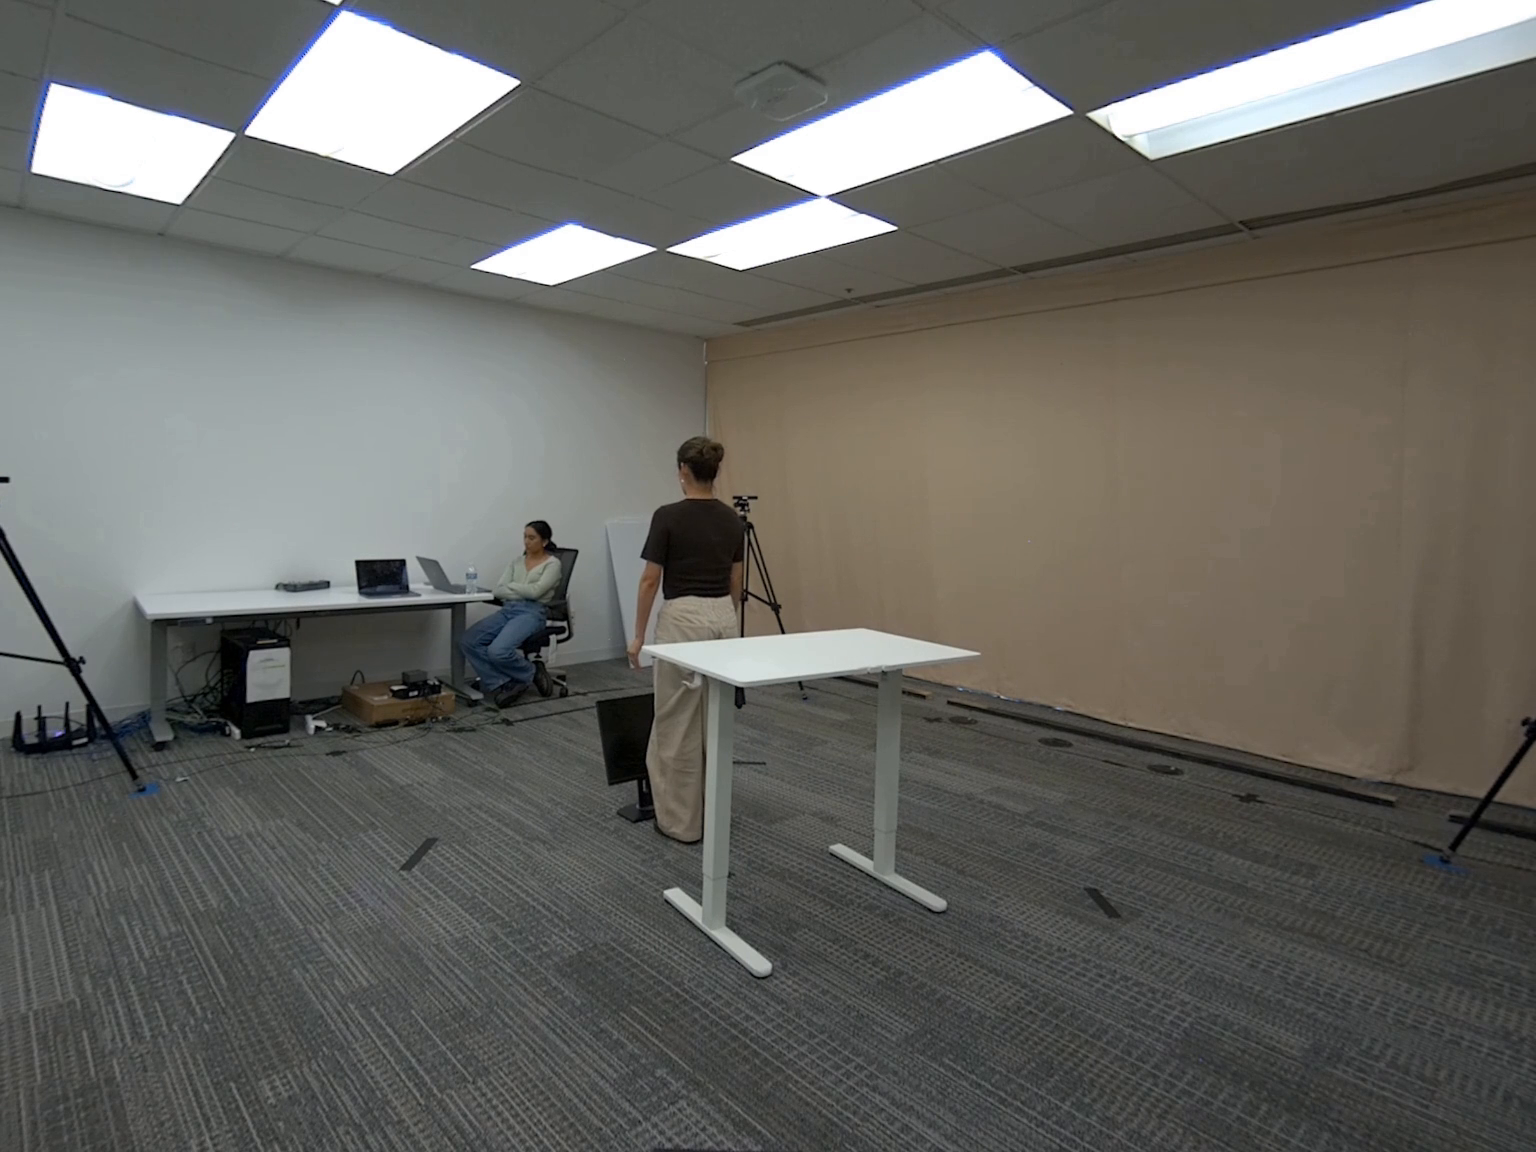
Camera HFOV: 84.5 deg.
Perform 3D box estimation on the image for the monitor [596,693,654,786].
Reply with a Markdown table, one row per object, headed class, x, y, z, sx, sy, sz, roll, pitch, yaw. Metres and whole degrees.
| class | x | y | z | sx | sy | sz | roll | pitch | yaw |
| --- | --- | --- | --- | --- | --- | --- | --- | --- | --- |
| monitor | -0.537 | 0.788 | 3.728 | 0.526 | 0.523 | 0.191 | -1 | -1 | -44 |
